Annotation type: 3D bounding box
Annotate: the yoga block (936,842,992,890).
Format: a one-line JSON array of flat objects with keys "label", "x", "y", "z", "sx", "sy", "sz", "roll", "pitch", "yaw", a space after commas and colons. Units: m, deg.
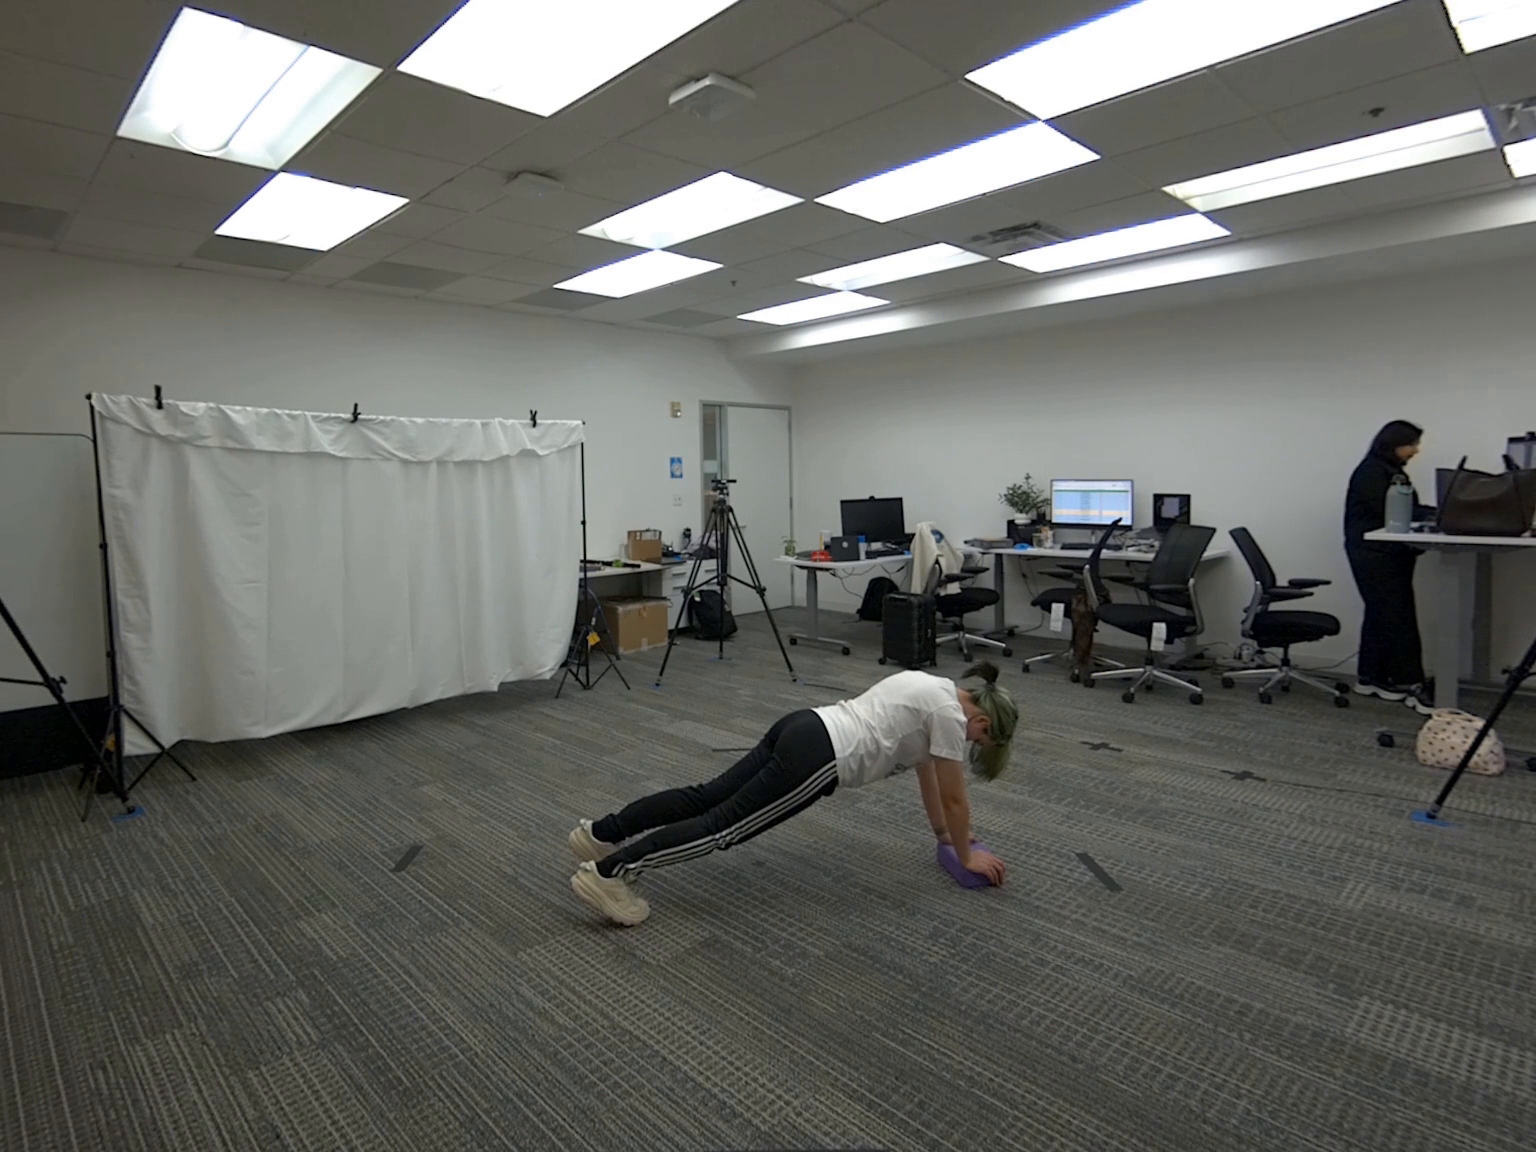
[{"label": "yoga block", "x": 0.704, "y": 1.005, "z": 3.006, "sx": 0.148, "sy": 0.076, "sz": 0.232, "roll": -2, "pitch": 5, "yaw": -10}]
